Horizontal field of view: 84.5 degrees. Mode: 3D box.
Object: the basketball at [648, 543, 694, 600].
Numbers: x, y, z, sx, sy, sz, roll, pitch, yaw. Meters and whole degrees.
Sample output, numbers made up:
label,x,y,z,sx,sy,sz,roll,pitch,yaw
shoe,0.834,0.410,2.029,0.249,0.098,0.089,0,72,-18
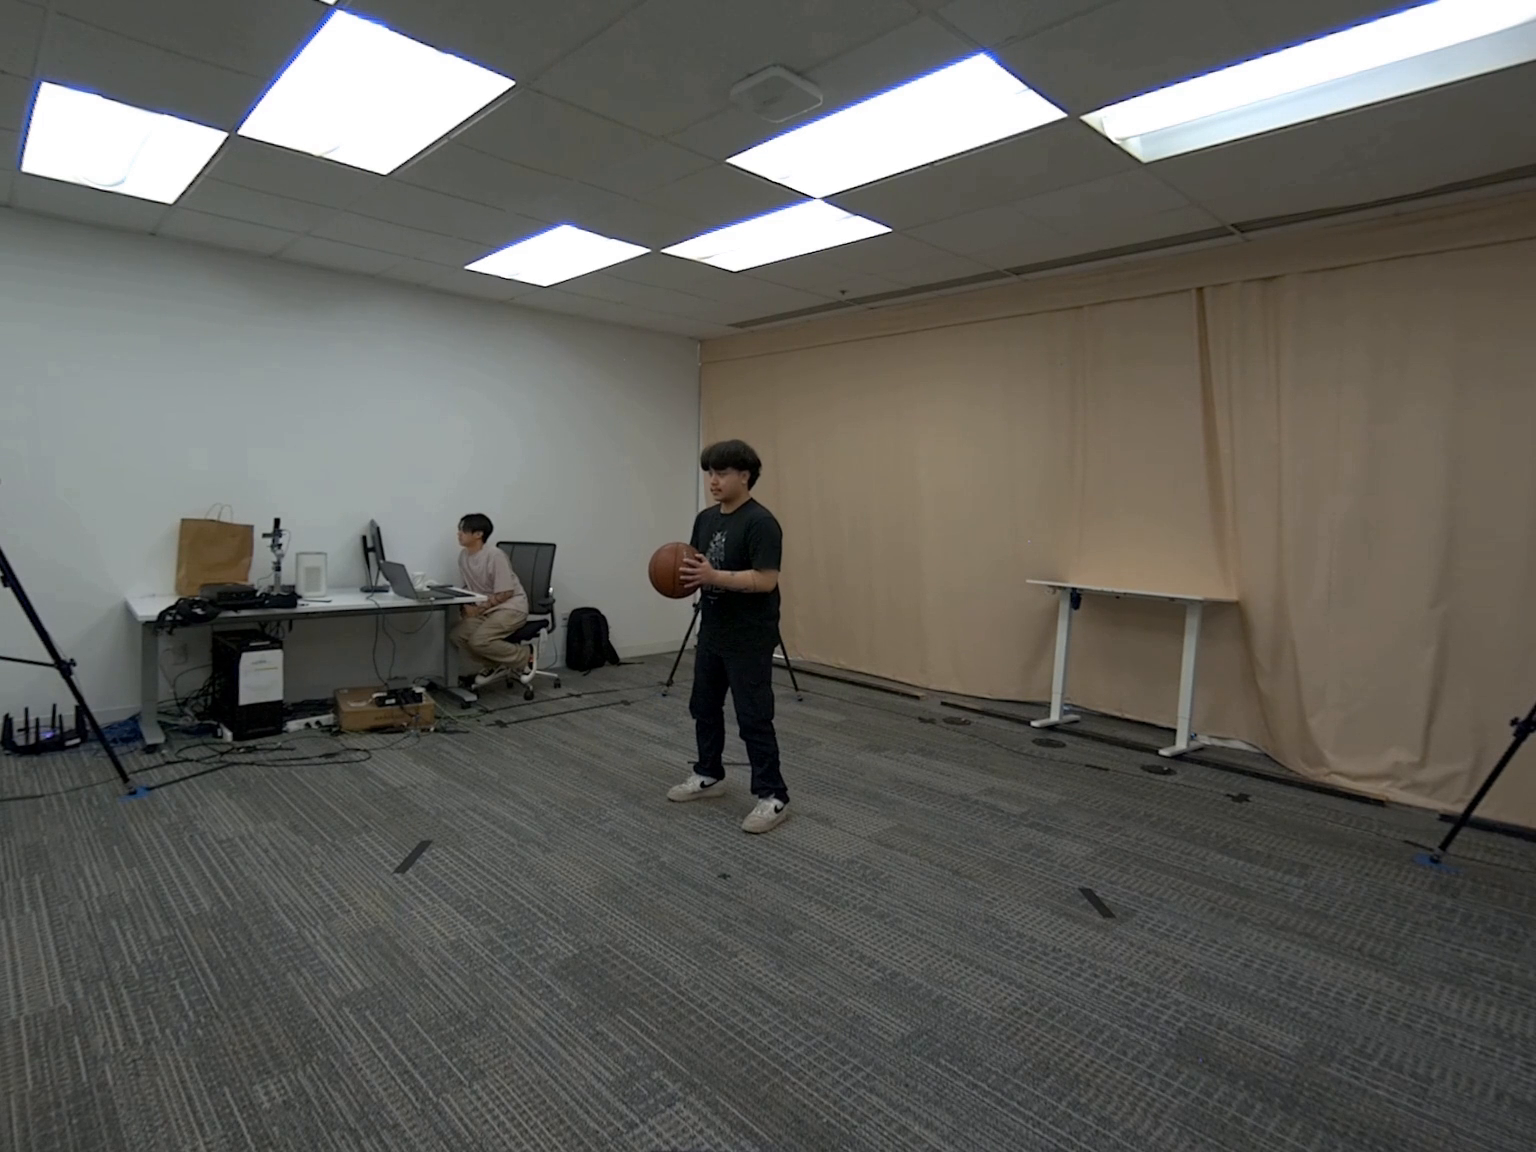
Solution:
label,x,y,z,sx,sy,sz,roll,pitch,yaw
basketball,-0.393,-0.023,3.536,0.236,0.235,0.237,1,4,-1
